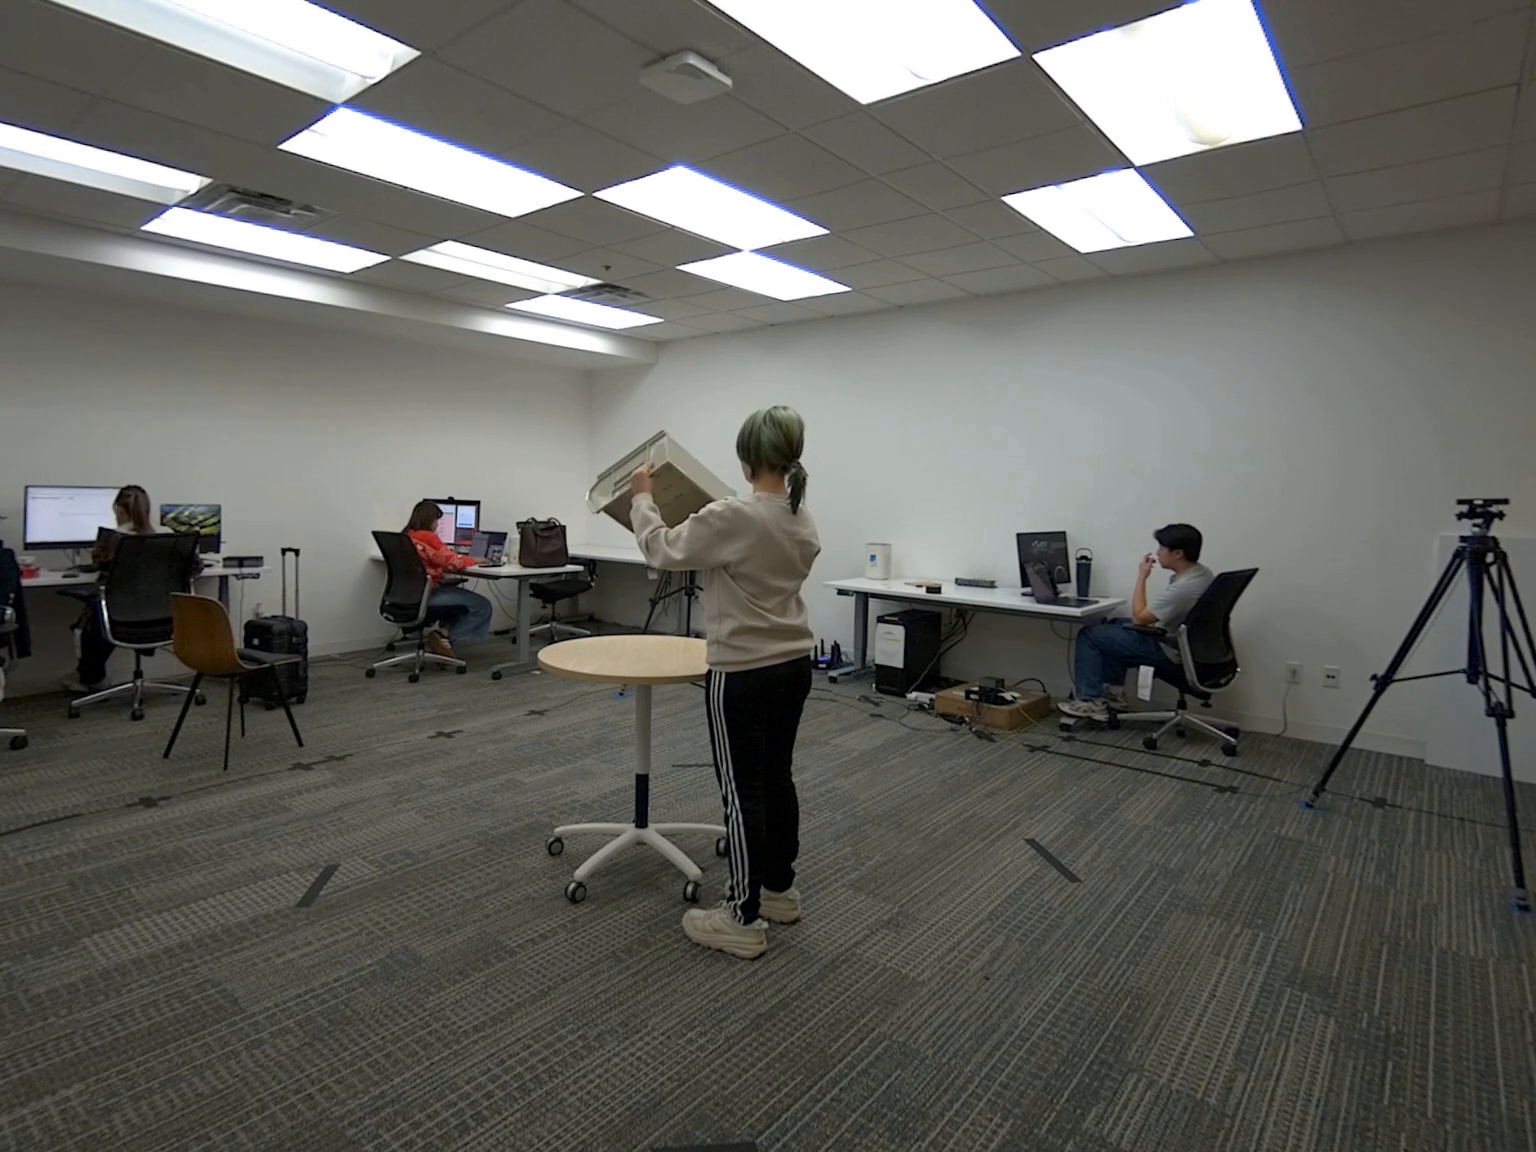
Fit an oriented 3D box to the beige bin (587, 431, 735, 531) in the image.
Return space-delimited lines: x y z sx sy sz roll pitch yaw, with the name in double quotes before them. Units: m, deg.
"beige bin" -0.368 -0.247 3.005 0.380 0.195 0.405 -32 -47 22
